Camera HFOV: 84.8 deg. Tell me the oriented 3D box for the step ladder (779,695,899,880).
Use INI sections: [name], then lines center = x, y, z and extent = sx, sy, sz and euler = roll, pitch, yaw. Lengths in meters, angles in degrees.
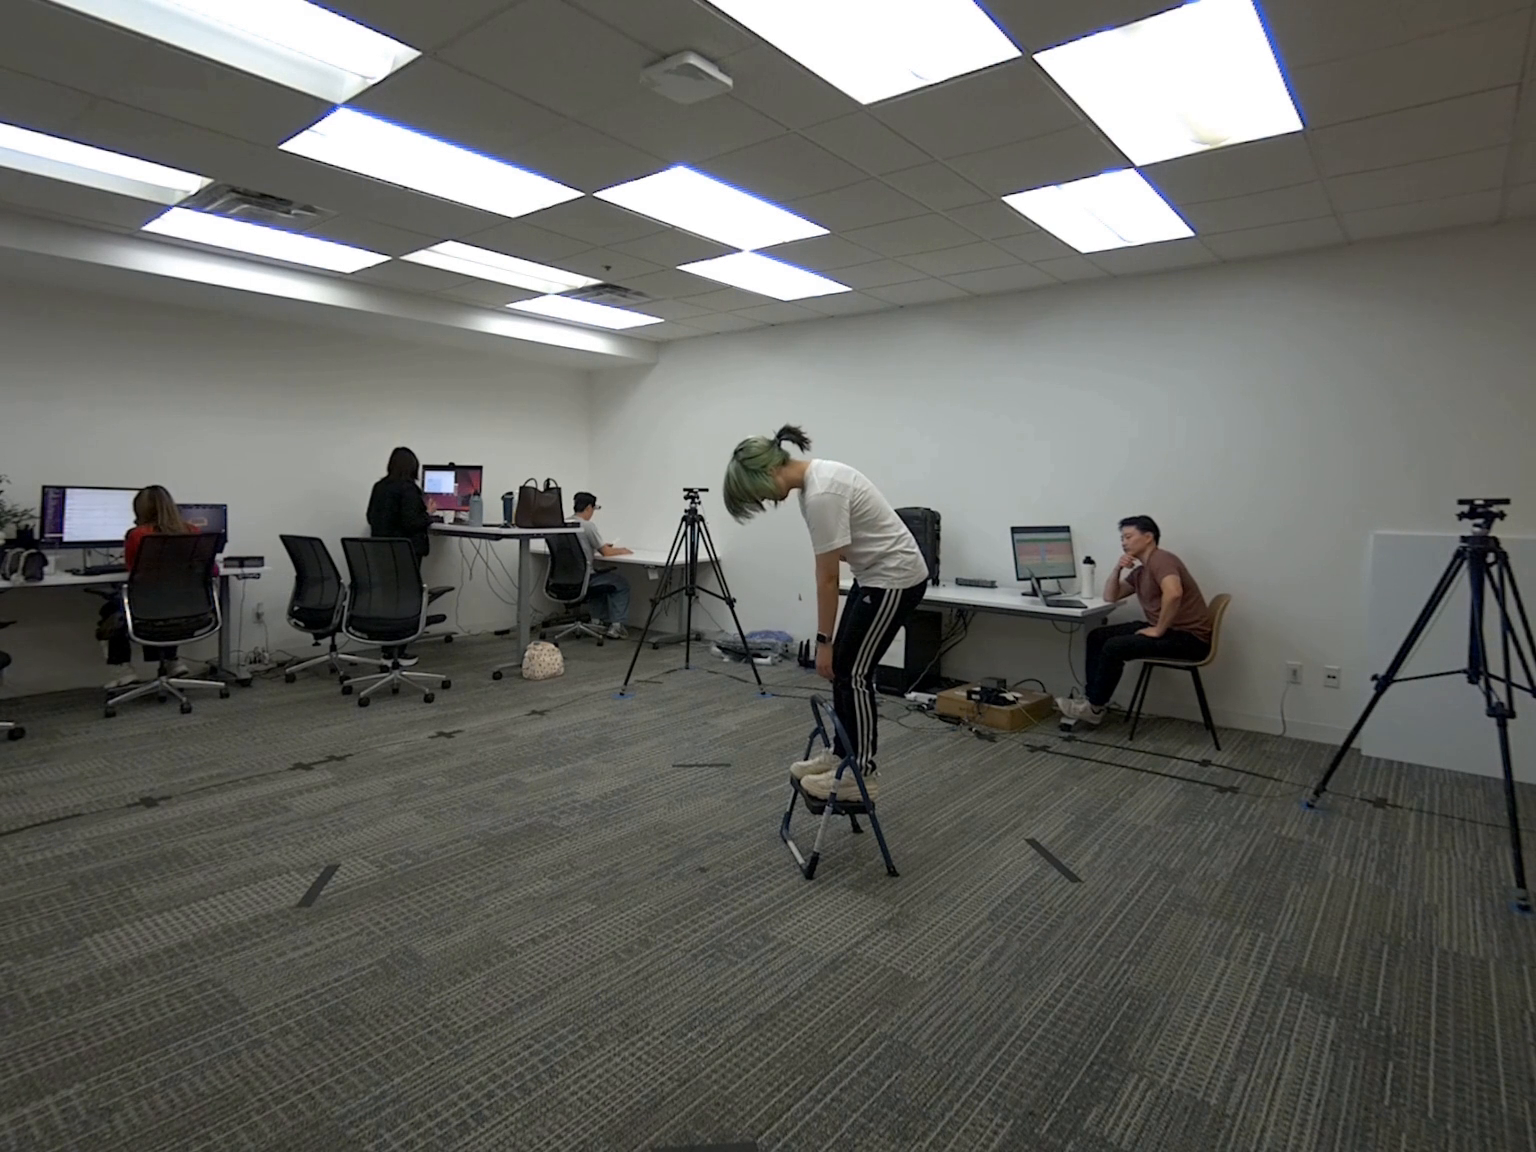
[step ladder]
center = 0.258, 0.767, 3.256
extent = 0.345, 0.604, 0.437
euler = 1, 3, -12
